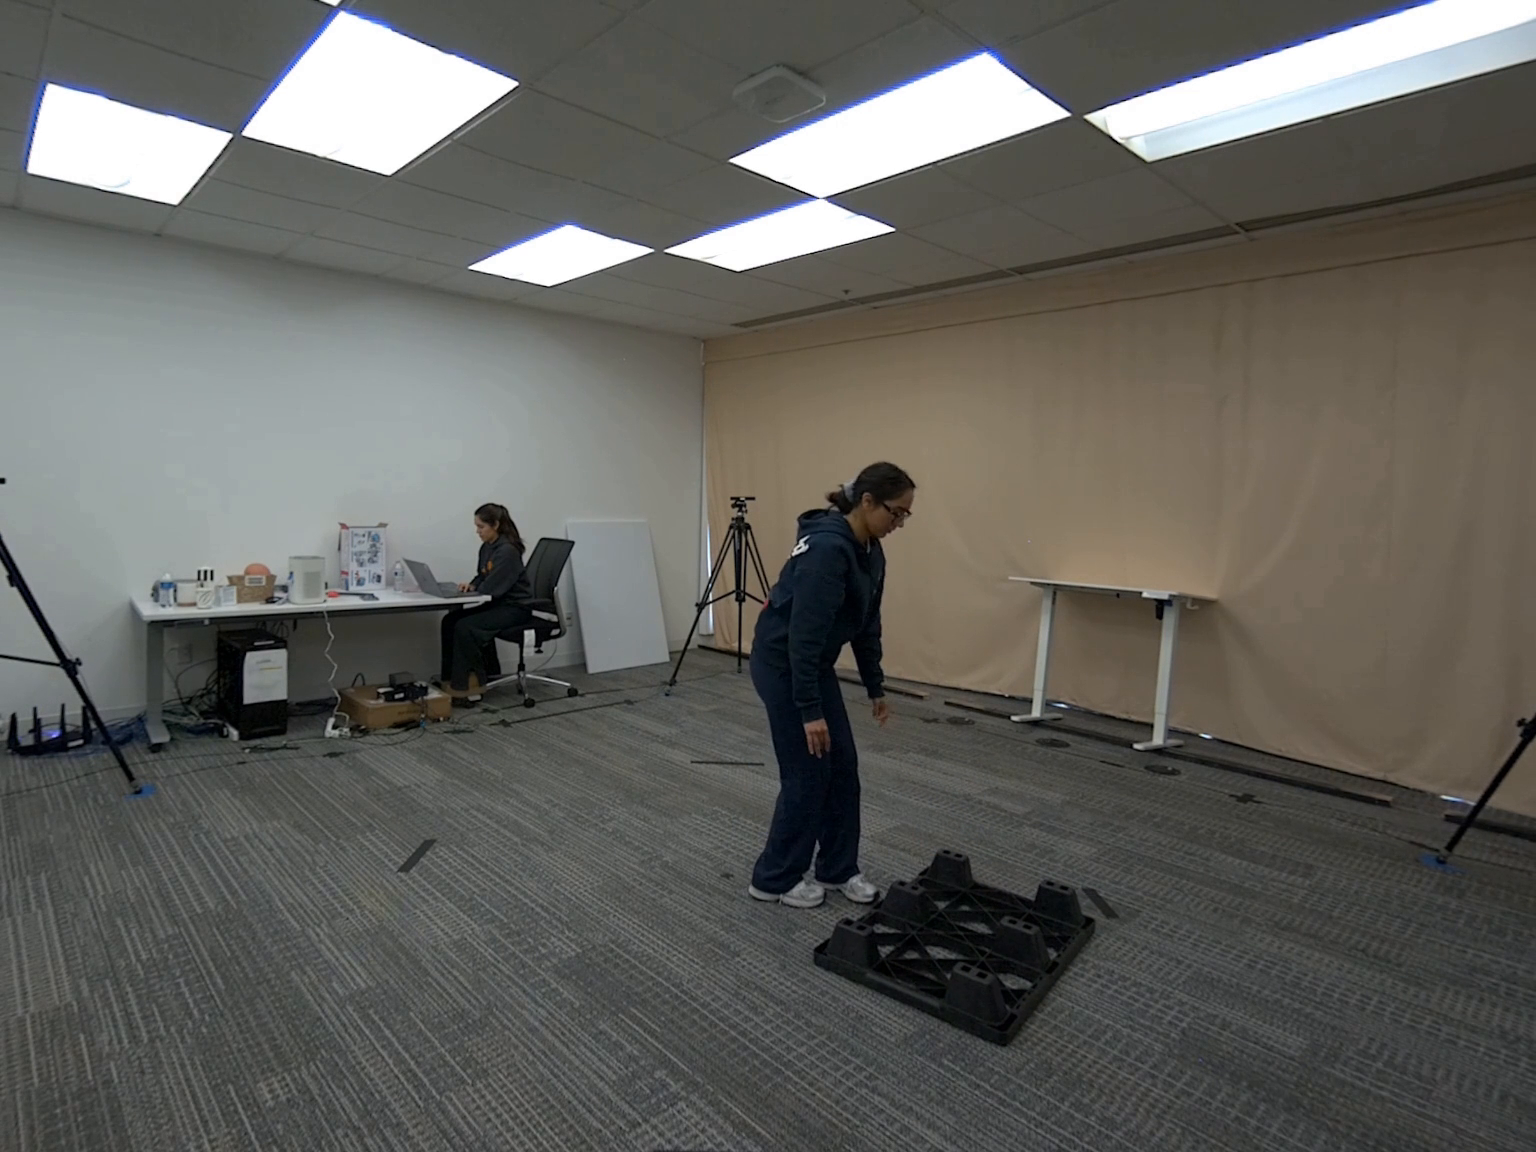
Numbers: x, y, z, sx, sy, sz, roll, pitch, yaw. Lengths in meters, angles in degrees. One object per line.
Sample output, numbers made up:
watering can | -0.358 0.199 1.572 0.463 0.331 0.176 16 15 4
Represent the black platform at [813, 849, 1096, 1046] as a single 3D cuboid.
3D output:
black platform | 0.602 1.103 2.655 0.620 0.143 0.788 6 7 37
